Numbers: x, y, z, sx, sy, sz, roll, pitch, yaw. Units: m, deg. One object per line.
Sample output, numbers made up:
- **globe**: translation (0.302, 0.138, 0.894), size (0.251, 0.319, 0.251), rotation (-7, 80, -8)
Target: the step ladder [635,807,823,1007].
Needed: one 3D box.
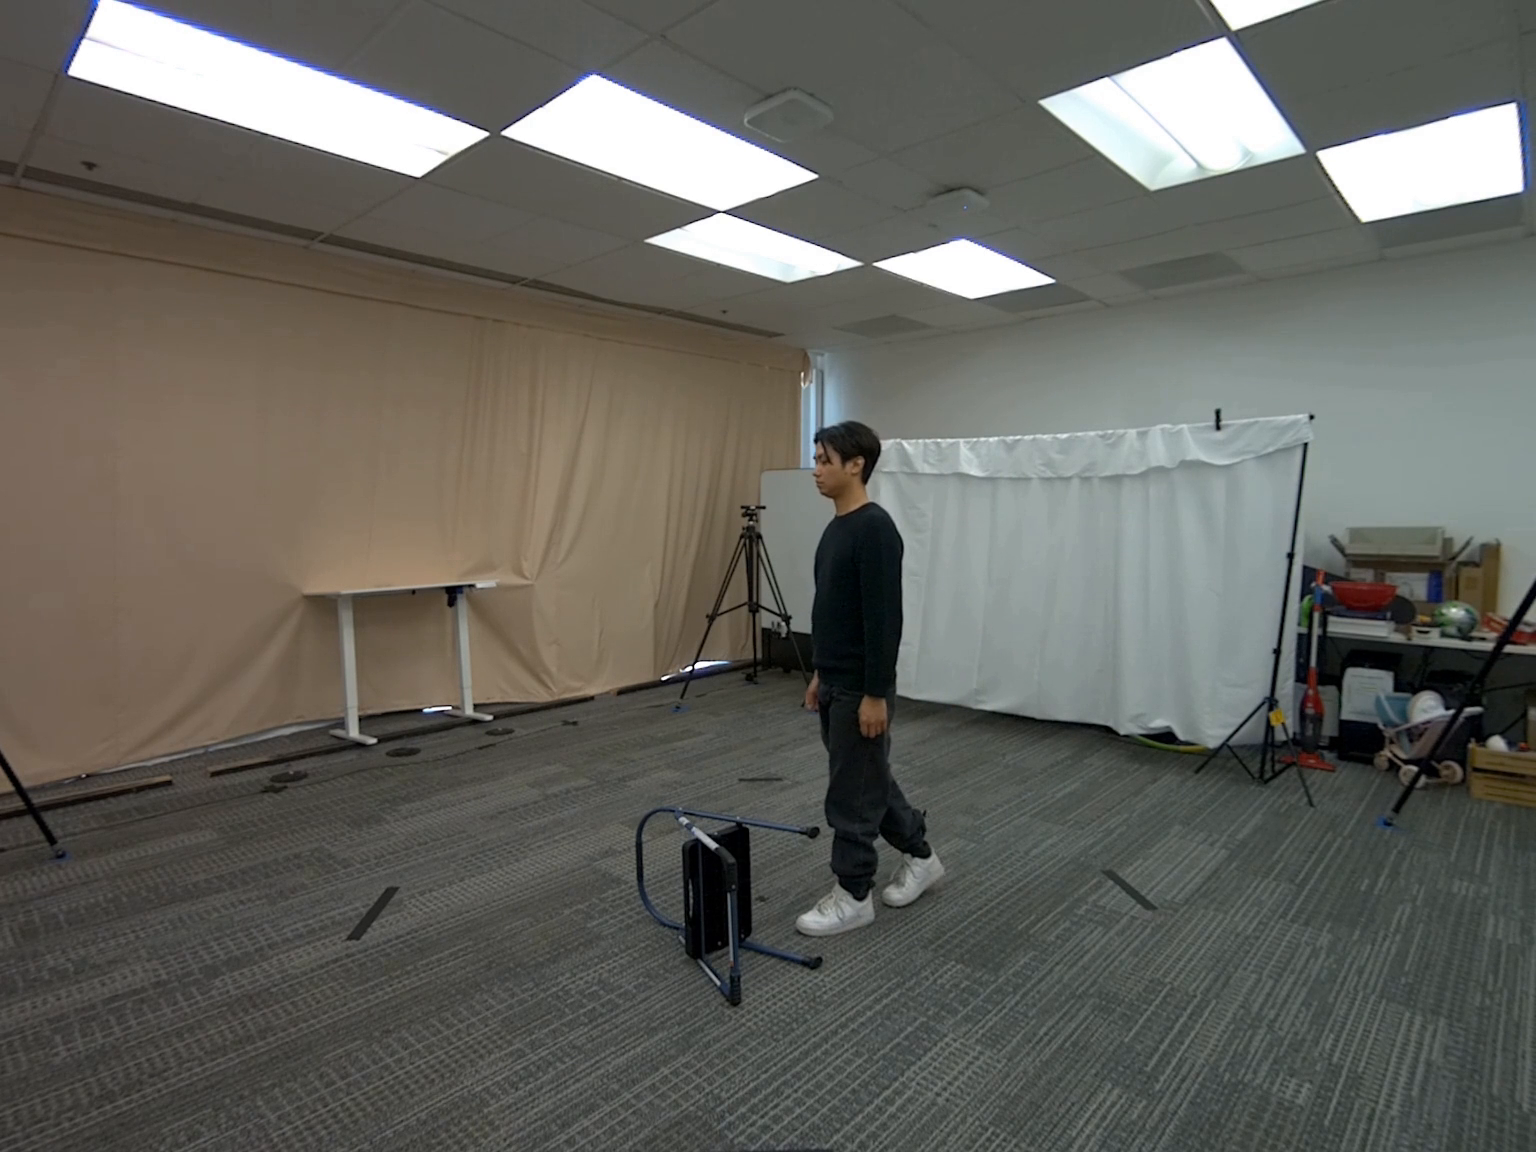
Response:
- **step ladder**: translation (-0.173, 0.968, 2.651), size (0.338, 0.430, 0.626), rotation (-3, 3, -42)
